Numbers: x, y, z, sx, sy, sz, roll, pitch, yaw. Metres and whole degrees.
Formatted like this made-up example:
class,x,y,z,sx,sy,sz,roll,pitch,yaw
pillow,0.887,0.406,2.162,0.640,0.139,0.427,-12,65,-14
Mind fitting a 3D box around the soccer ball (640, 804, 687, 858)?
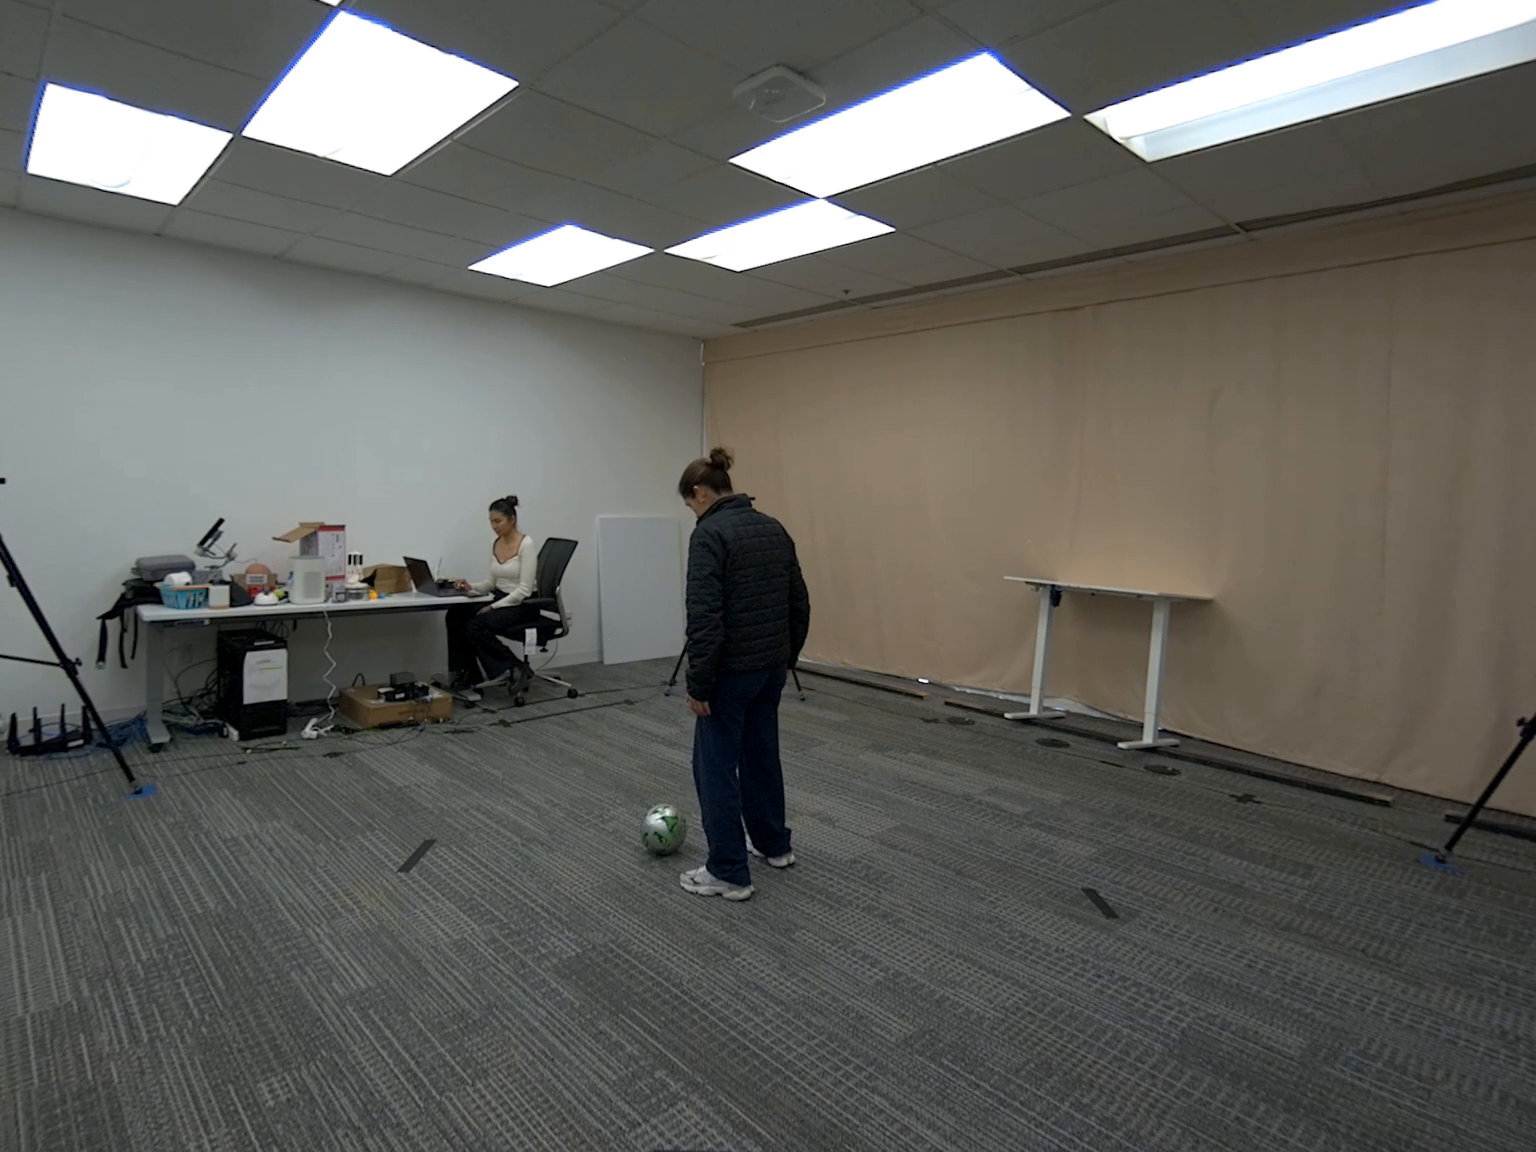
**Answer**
class,x,y,z,sx,sy,sz,roll,pitch,yaw
soccer ball,-0.411,0.984,3.291,0.187,0.187,0.188,1,4,-1
